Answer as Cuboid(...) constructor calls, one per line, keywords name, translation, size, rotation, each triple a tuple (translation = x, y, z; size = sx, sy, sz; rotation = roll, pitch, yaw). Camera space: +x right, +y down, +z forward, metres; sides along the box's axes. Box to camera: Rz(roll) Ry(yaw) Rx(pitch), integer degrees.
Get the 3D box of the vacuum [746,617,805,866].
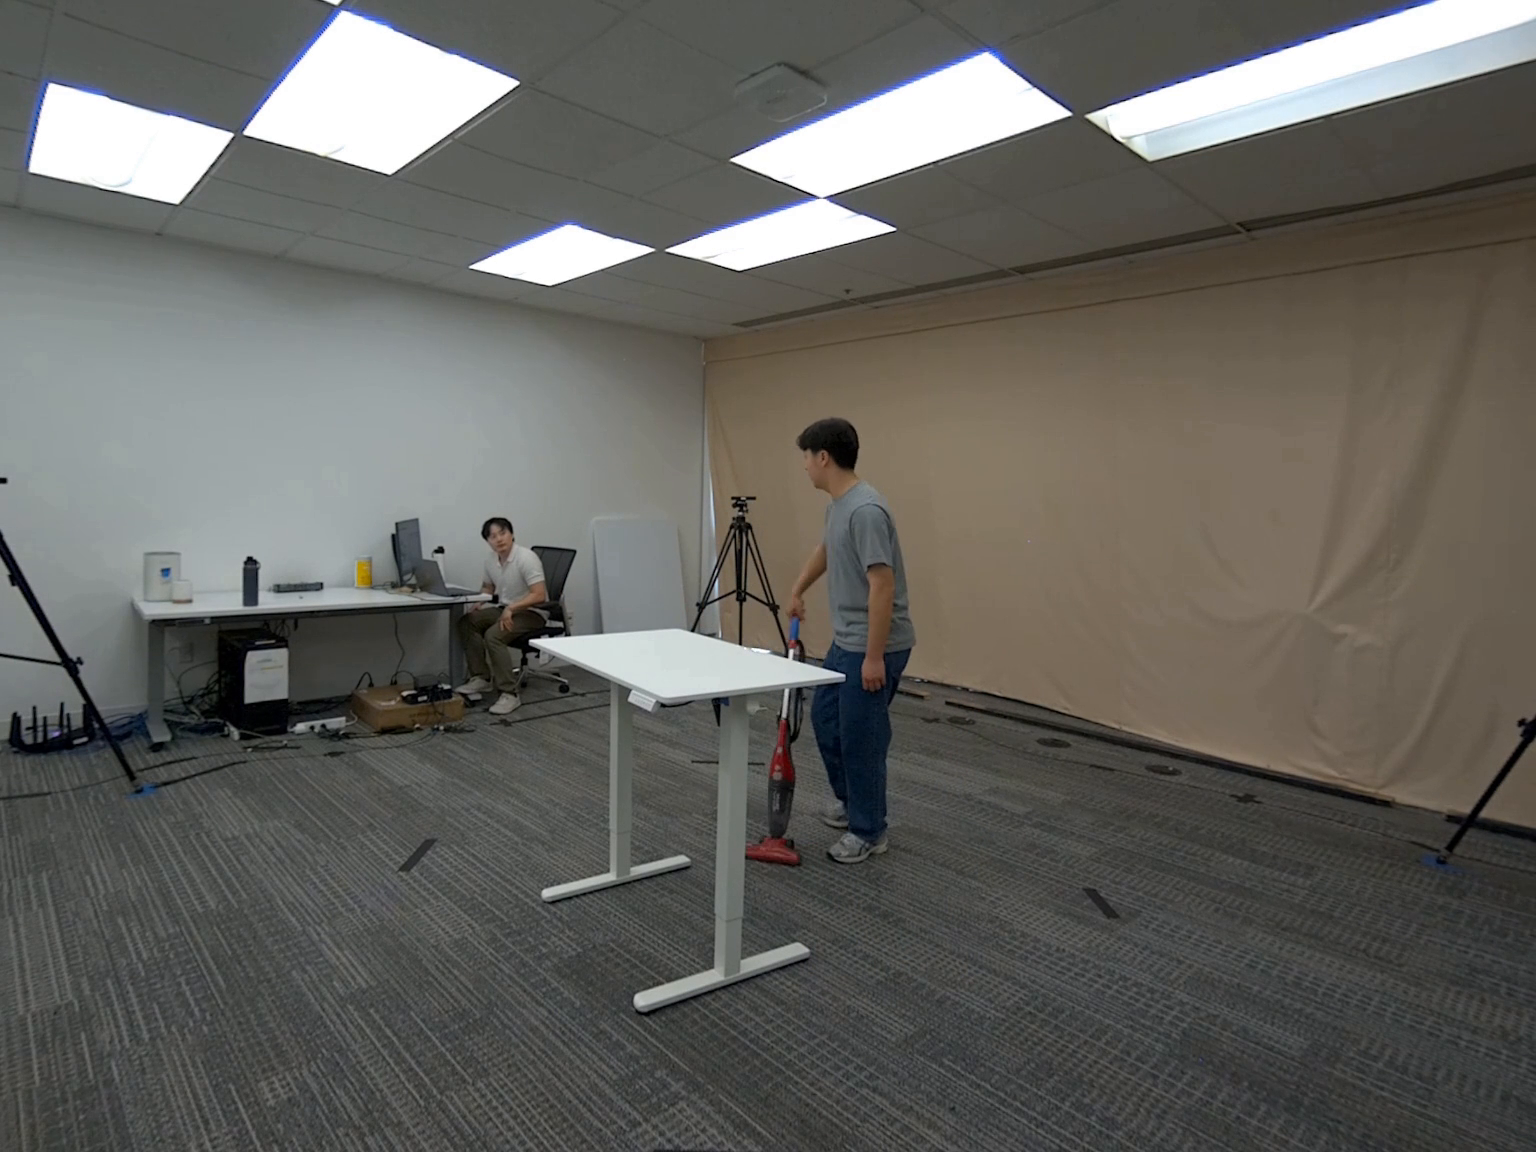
Cuboid(name="vacuum", translation=(0.087, 0.607, 3.487), size=(0.257, 1.064, 0.140), rotation=(-3, -26, 22))
